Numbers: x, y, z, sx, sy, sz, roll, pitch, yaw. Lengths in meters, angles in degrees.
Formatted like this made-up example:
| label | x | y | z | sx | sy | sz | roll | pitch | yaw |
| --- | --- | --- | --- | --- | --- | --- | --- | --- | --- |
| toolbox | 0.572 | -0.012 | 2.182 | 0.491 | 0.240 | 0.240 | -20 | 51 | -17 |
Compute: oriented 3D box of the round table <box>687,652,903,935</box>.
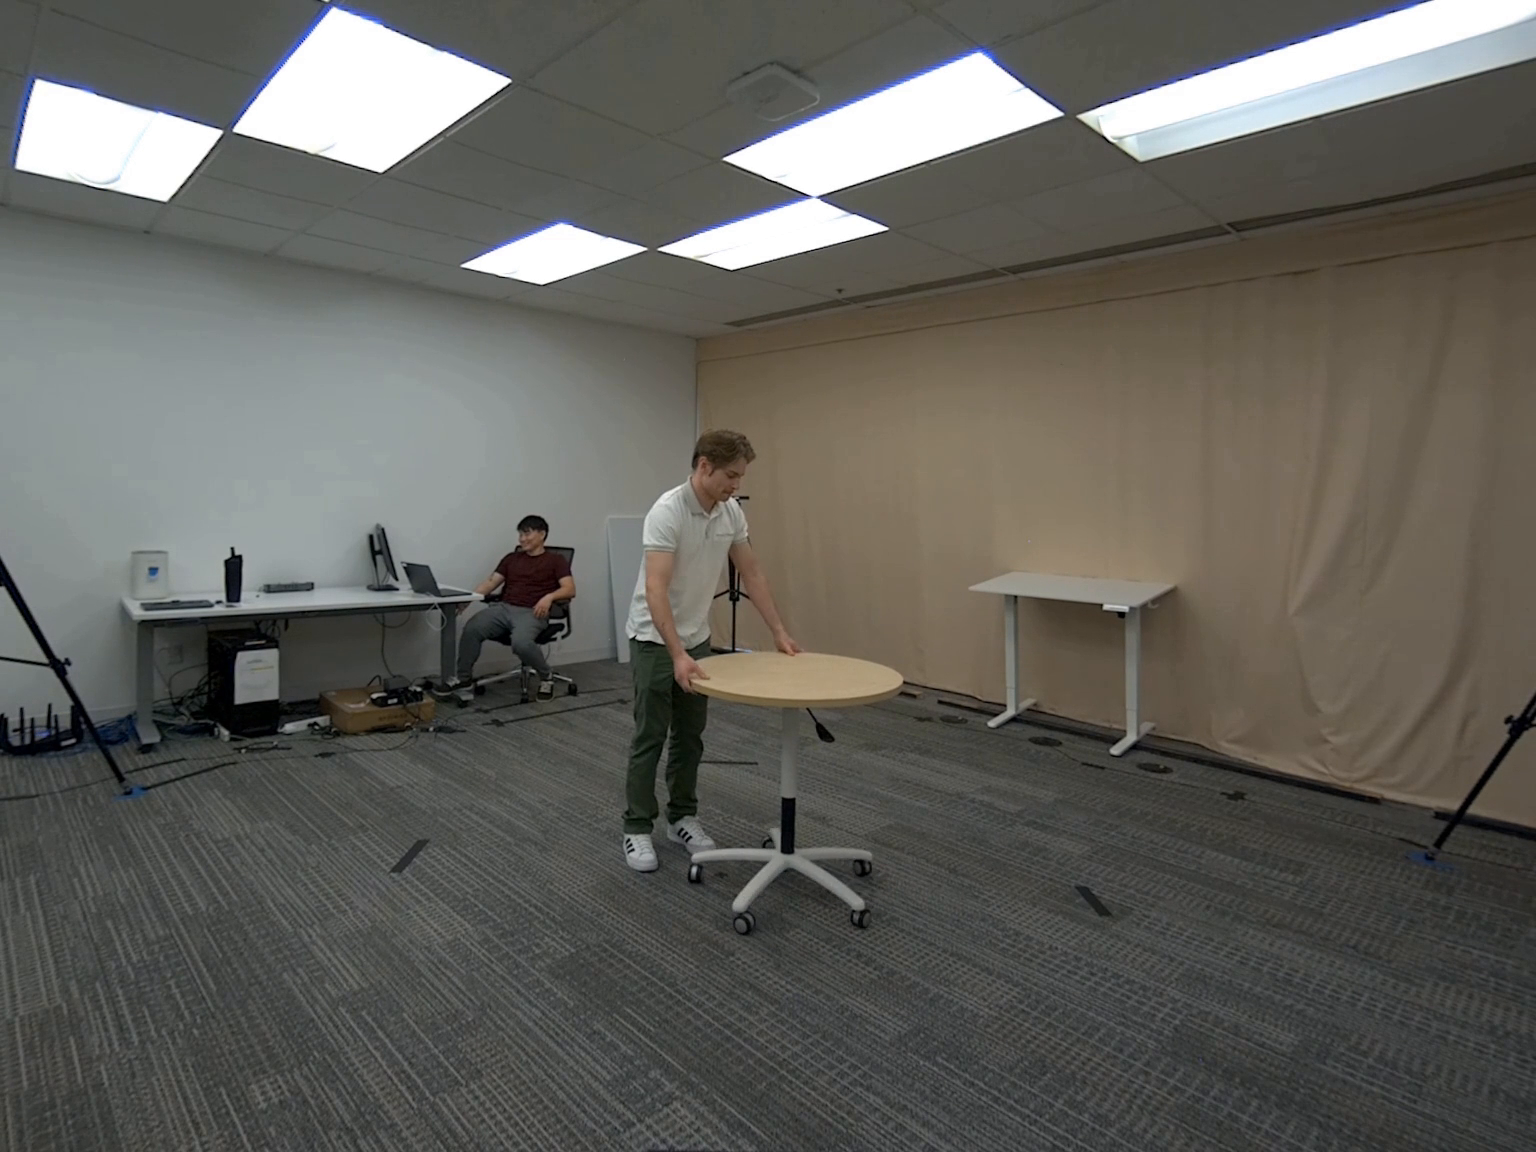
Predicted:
| label | x | y | z | sx | sy | sz | roll | pitch | yaw |
| --- | --- | --- | --- | --- | --- | --- | --- | --- | --- |
| round table | 0.067 | 0.731 | 2.965 | 0.763 | 0.791 | 0.767 | 1 | 5 | -1 |
